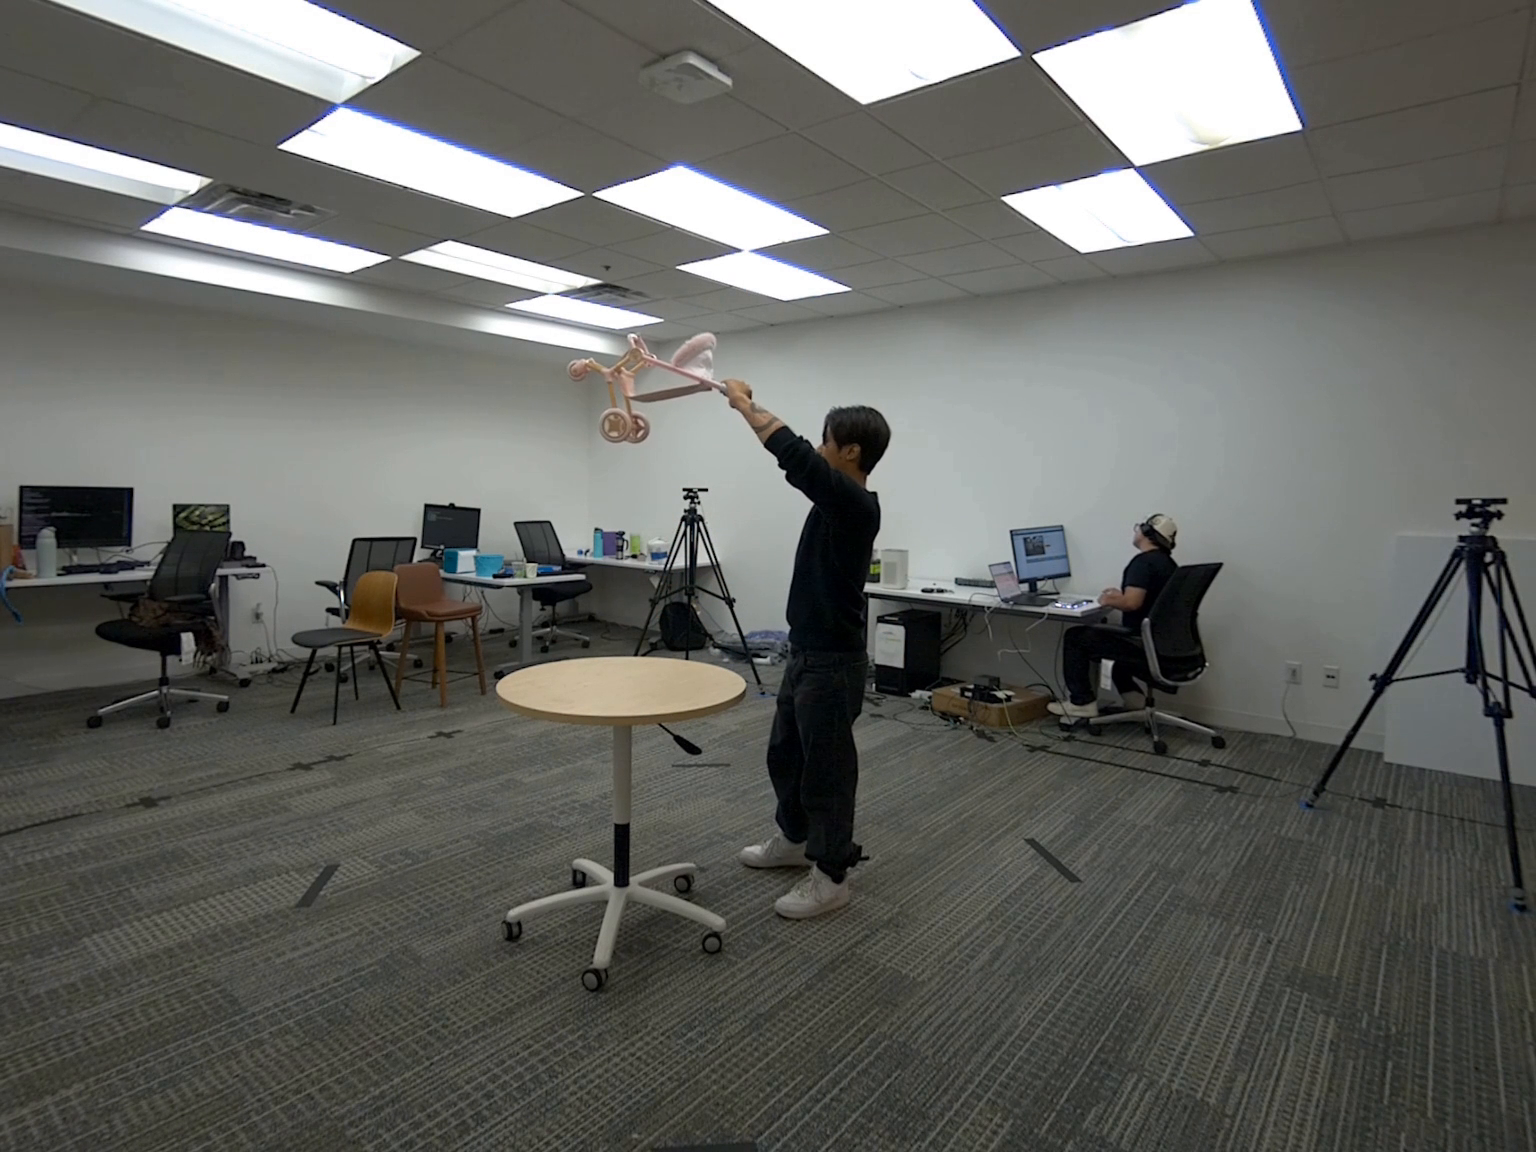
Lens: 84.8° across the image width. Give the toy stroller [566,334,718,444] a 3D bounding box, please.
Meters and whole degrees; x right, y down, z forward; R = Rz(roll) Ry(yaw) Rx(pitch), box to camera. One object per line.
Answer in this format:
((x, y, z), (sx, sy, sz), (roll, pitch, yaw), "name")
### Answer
((-0.399, -0.656, 2.823), (0.538, 0.343, 0.278), (-22, -2, 11), "toy stroller")
